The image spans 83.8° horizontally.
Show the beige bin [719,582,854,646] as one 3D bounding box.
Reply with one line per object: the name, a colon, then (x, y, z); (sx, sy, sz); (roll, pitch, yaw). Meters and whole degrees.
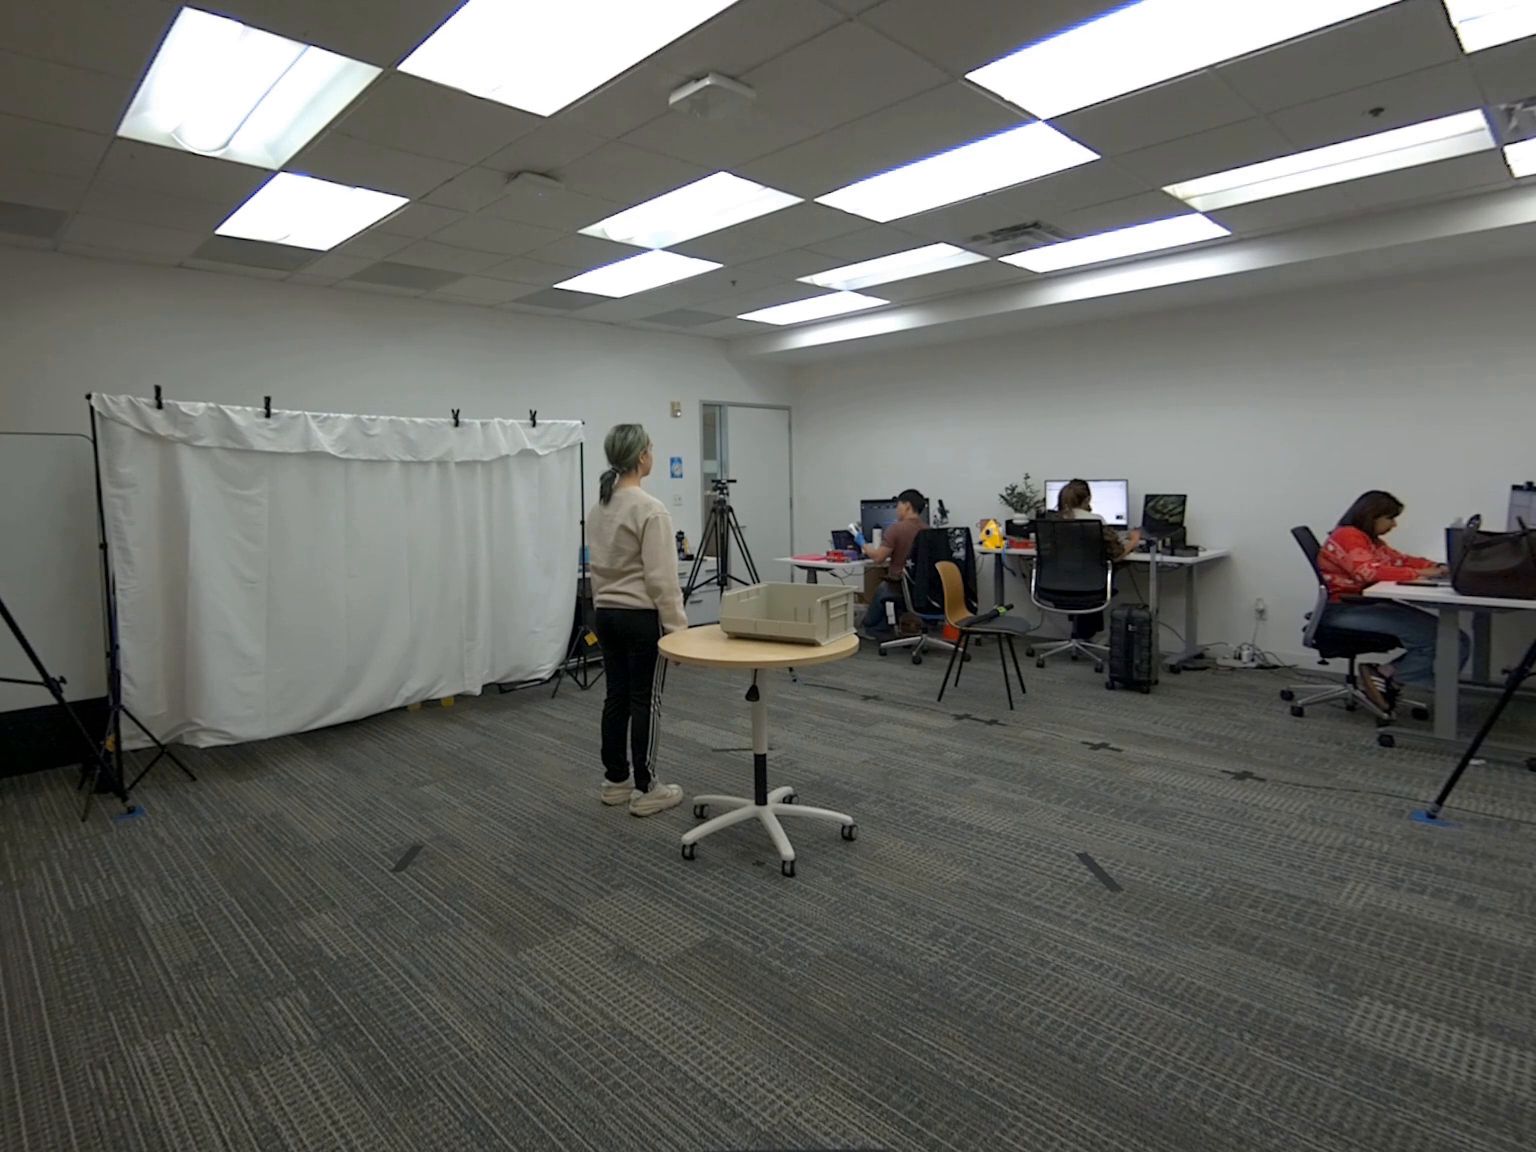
beige bin: (0.086, 0.146, 3.324); (0.433, 0.188, 0.369); (1, 5, 31)
